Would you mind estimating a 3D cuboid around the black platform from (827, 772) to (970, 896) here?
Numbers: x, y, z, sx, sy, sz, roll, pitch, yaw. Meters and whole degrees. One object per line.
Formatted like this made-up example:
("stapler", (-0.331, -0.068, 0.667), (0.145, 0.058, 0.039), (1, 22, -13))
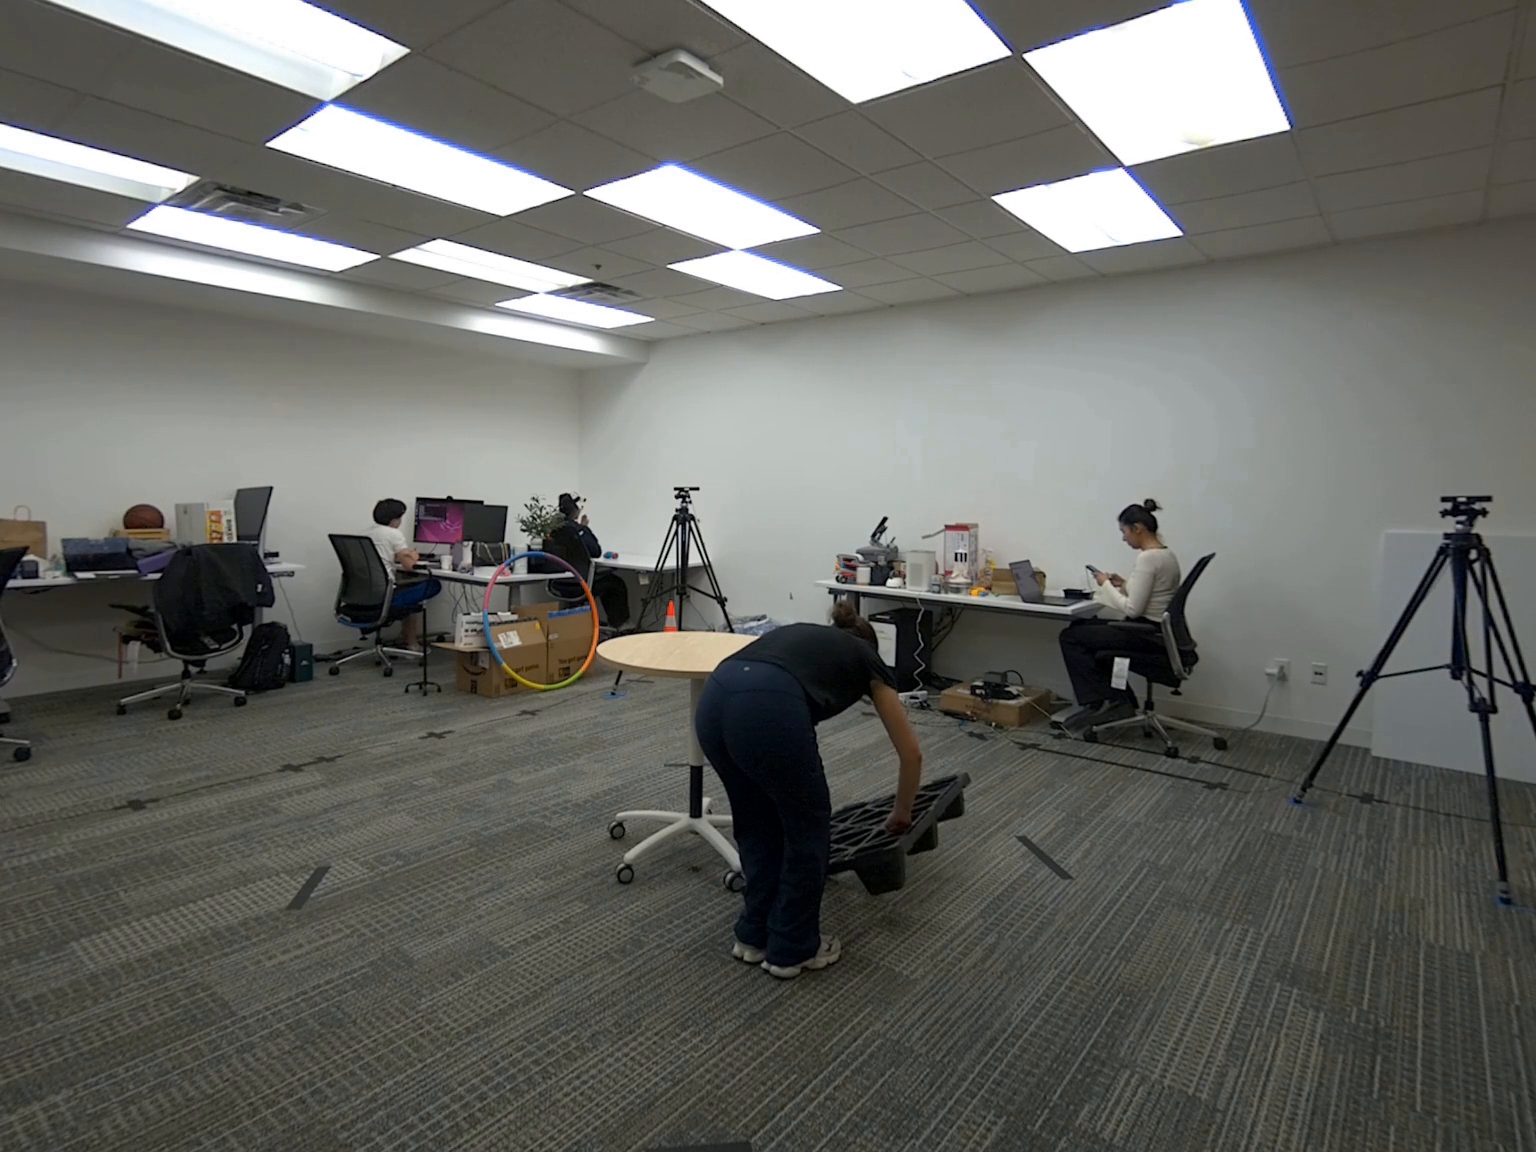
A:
("black platform", (0.361, 0.933, 2.967), (0.613, 0.145, 0.785), (-25, -9, 29))
